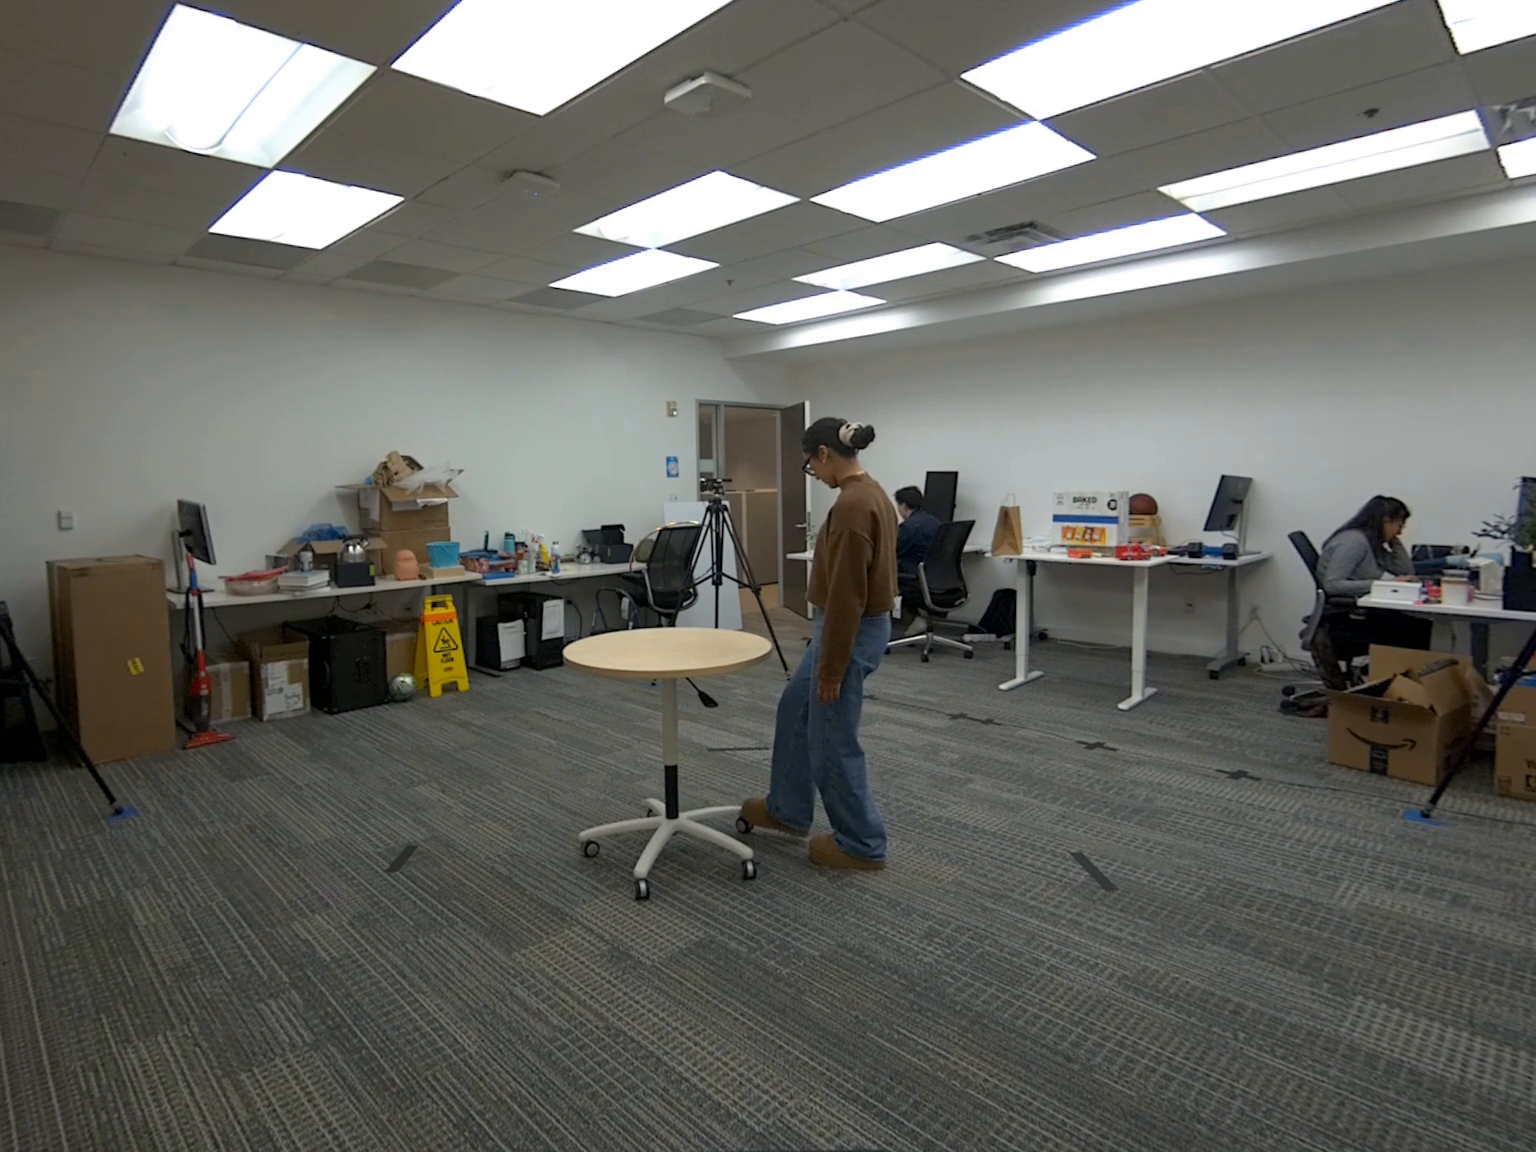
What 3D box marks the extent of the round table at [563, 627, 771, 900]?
[{"bbox_3d":[-0.353,0.653,3.170,0.763,0.790,0.768,-1,5,-2],"label":"round table"}]
